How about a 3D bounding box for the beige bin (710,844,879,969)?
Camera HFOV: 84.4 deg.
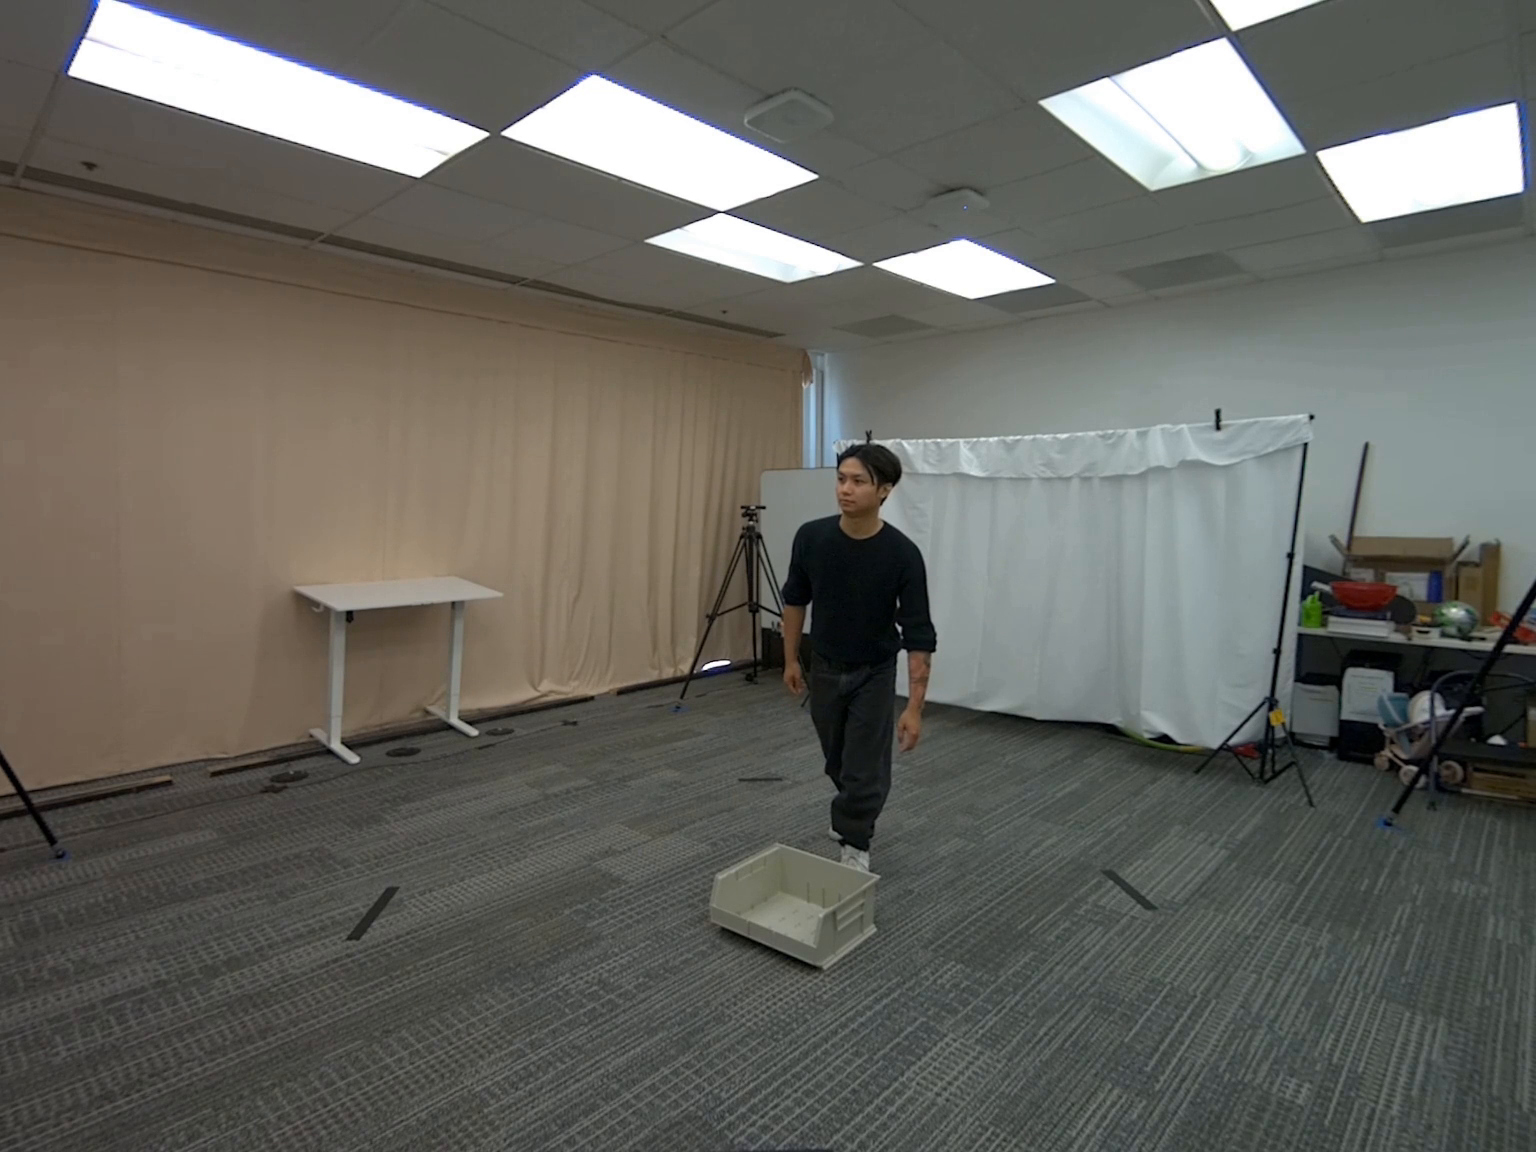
[{"bbox_3d":[0.089,1.075,2.752,0.436,0.189,0.366,3,4,39],"label":"beige bin"}]
